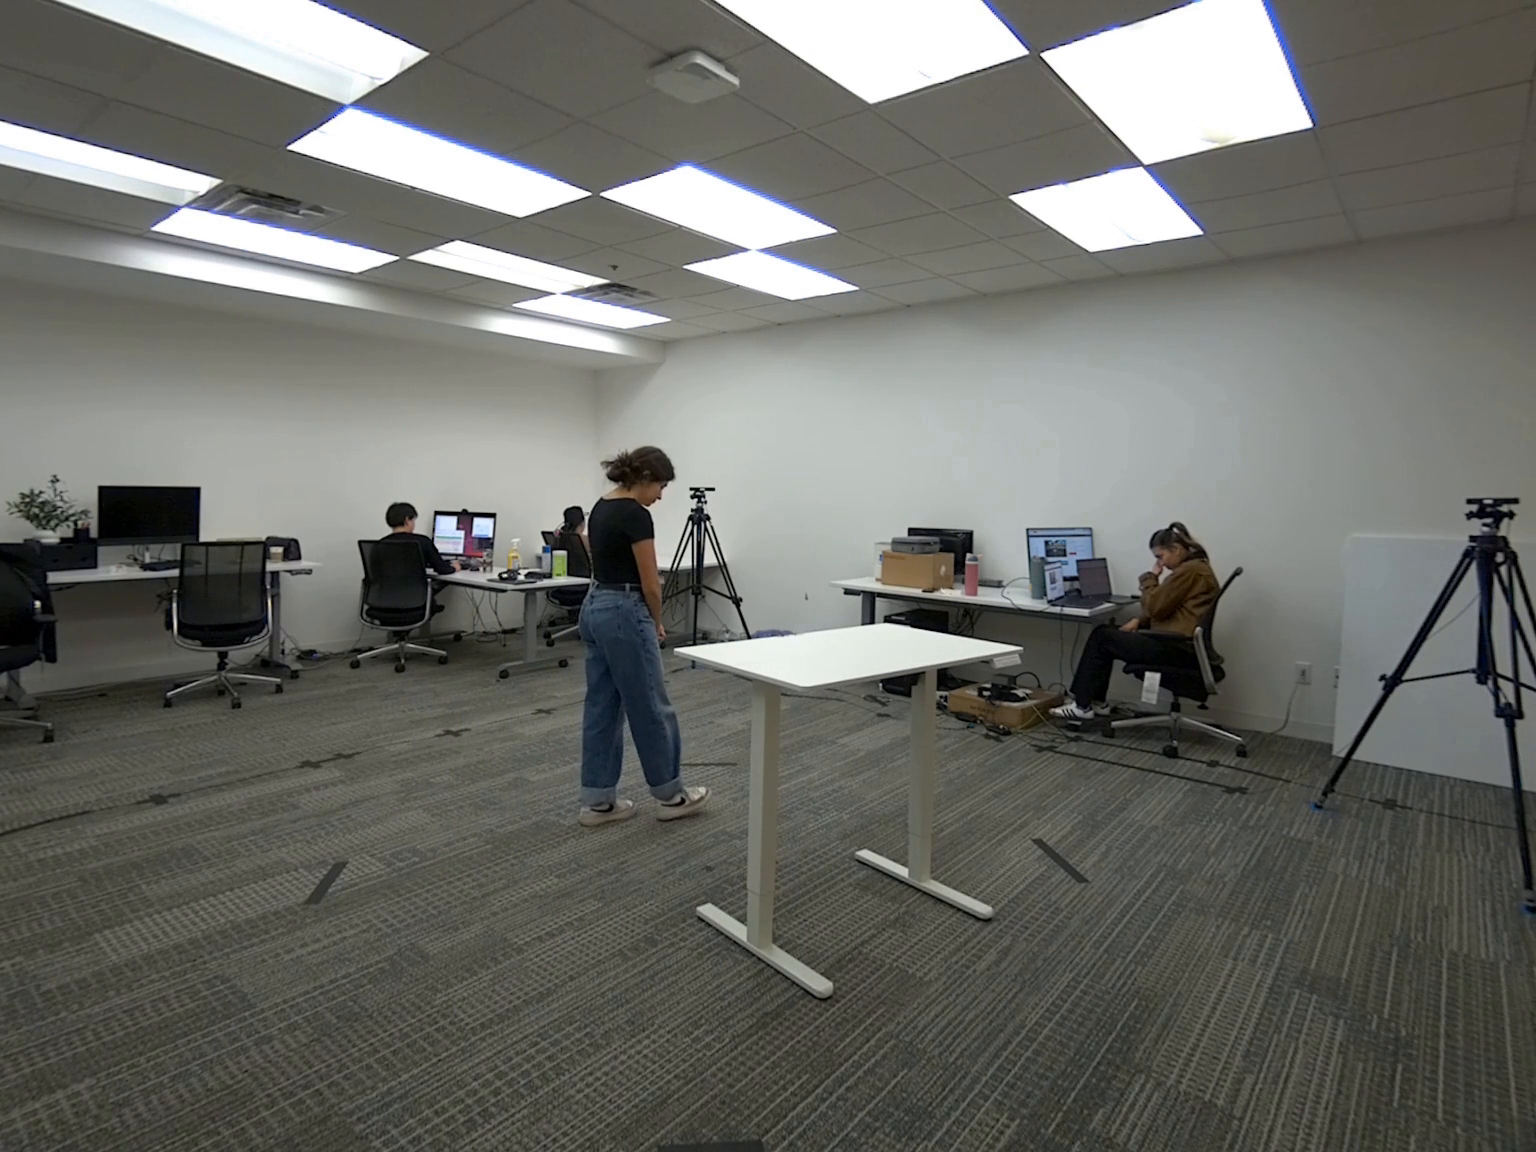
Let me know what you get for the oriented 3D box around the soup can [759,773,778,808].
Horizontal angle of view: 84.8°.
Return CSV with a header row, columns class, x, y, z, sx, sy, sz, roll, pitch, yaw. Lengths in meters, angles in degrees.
class,x,y,z,sx,sy,sz,roll,pitch,yaw
soup can,-0.002,0.944,3.712,0.067,0.121,0.067,4,3,-2
